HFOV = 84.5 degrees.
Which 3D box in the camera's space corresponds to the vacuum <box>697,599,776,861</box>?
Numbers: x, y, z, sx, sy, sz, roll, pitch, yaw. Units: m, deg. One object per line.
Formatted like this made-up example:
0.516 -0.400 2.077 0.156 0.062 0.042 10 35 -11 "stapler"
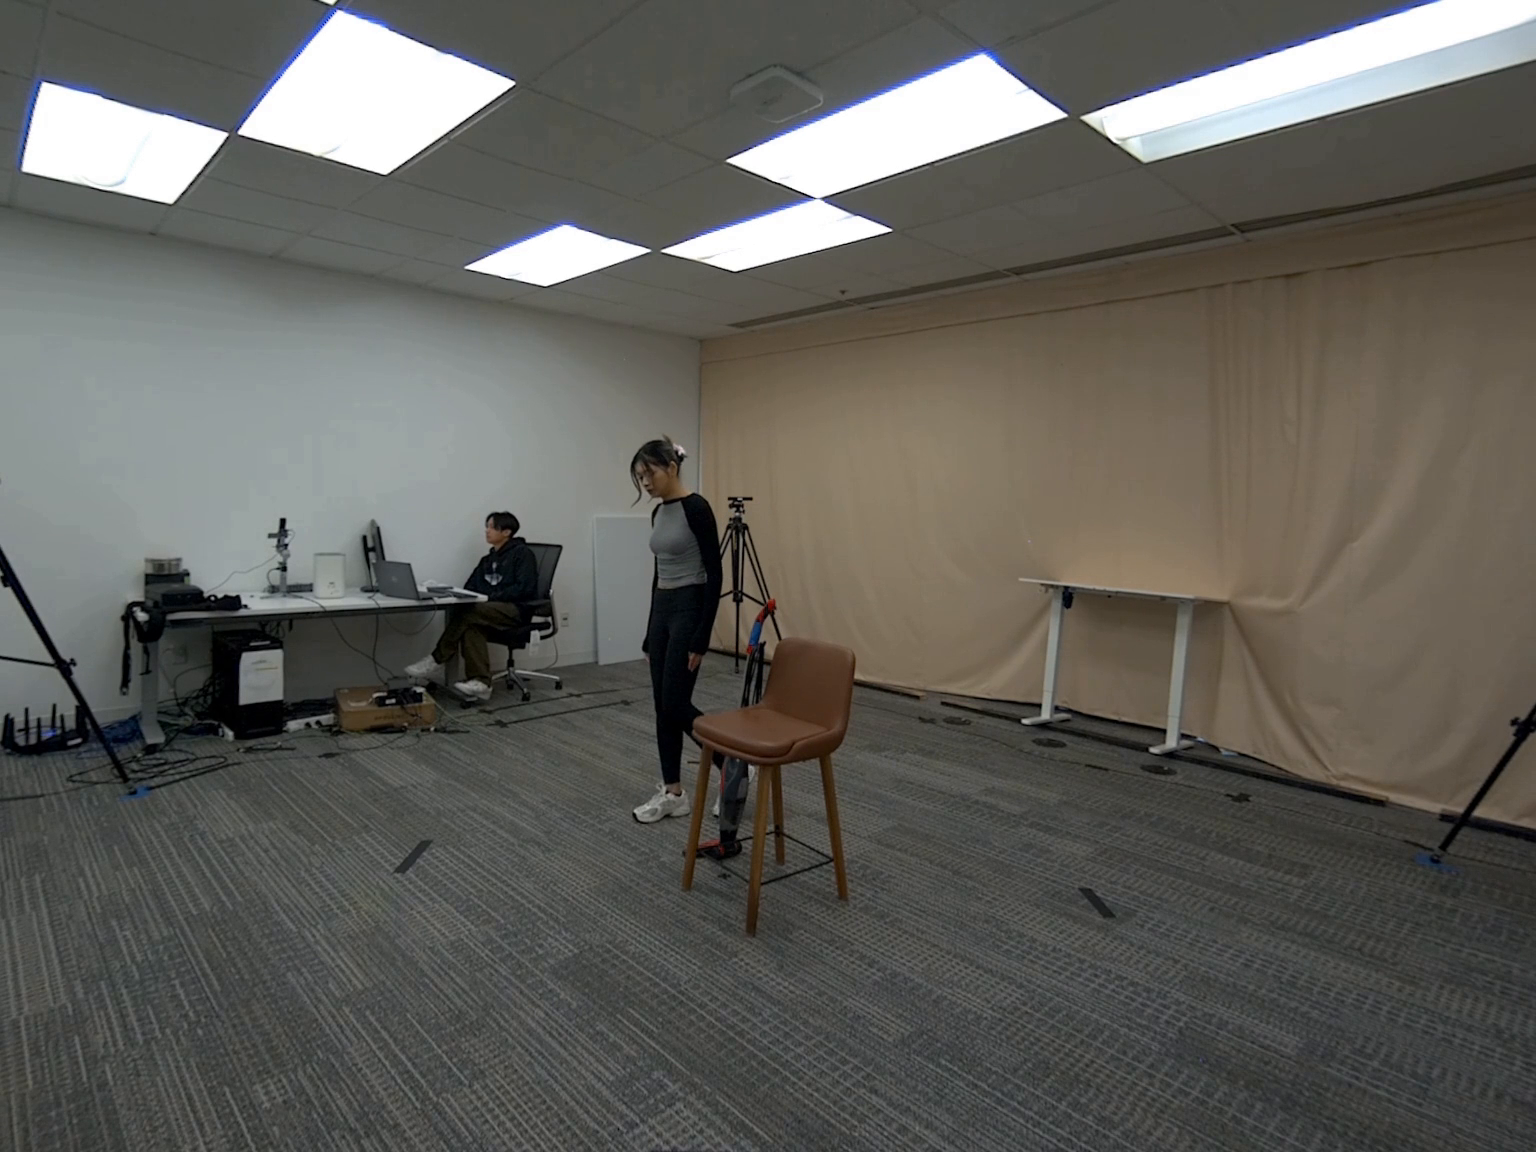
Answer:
-0.098 0.590 3.197 0.247 1.042 0.148 2 15 -35 "vacuum"
